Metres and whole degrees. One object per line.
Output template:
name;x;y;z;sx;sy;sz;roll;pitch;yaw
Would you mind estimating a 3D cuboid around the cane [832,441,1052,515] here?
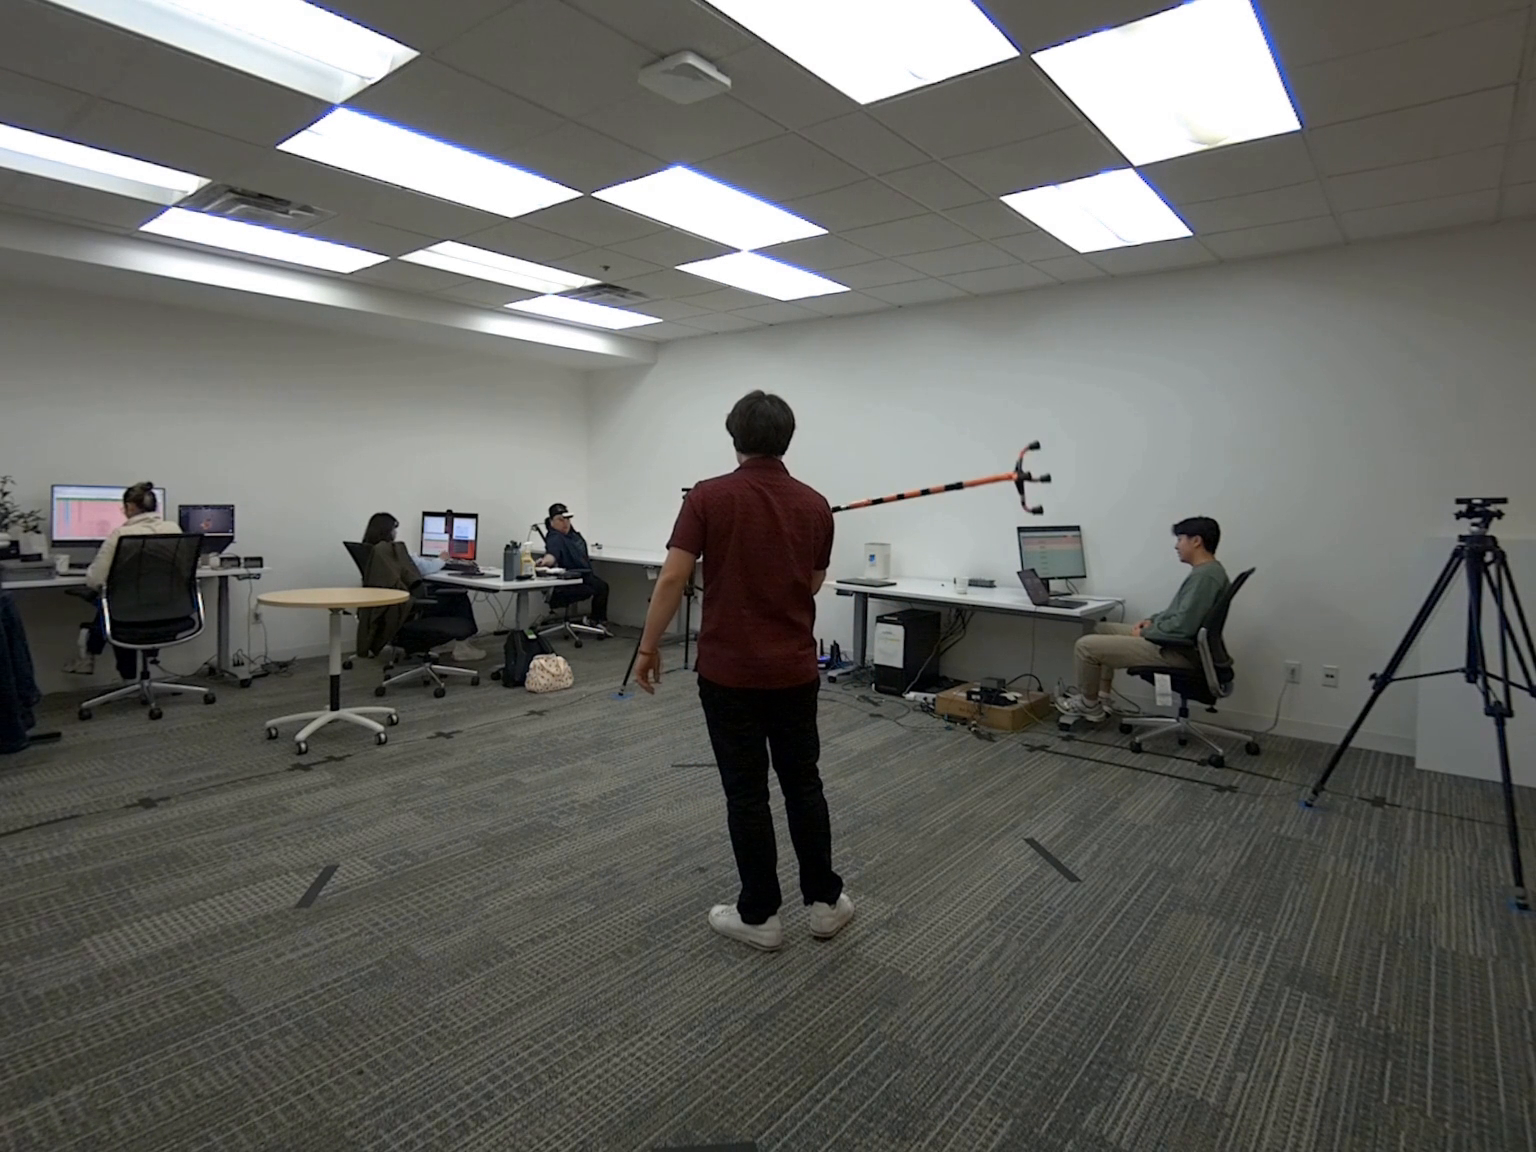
cane;0.439;-0.250;2.839;0.931;0.147;0.208;-8;33;35
